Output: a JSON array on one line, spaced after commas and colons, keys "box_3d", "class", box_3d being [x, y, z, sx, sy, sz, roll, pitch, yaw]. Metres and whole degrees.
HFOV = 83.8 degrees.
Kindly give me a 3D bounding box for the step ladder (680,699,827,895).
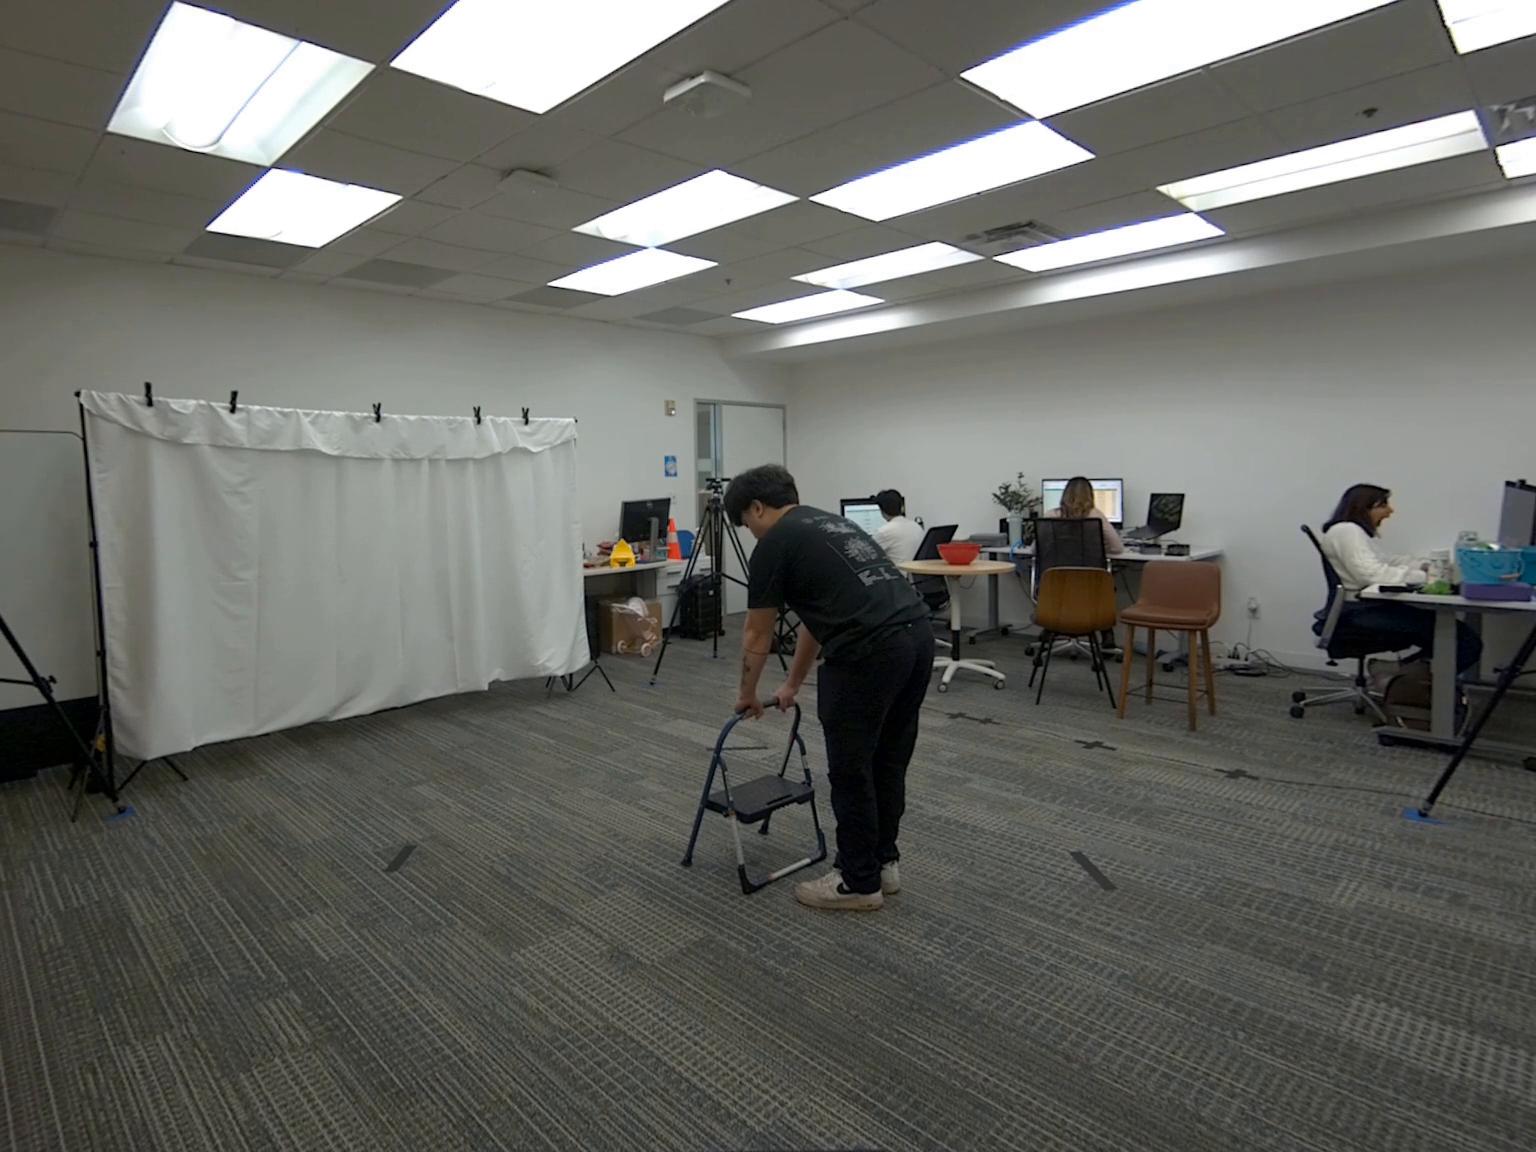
[{"box_3d": [-0.051, 0.738, 3.105, 0.419, 0.604, 0.360, -6, 6, -45], "class": "step ladder"}]
